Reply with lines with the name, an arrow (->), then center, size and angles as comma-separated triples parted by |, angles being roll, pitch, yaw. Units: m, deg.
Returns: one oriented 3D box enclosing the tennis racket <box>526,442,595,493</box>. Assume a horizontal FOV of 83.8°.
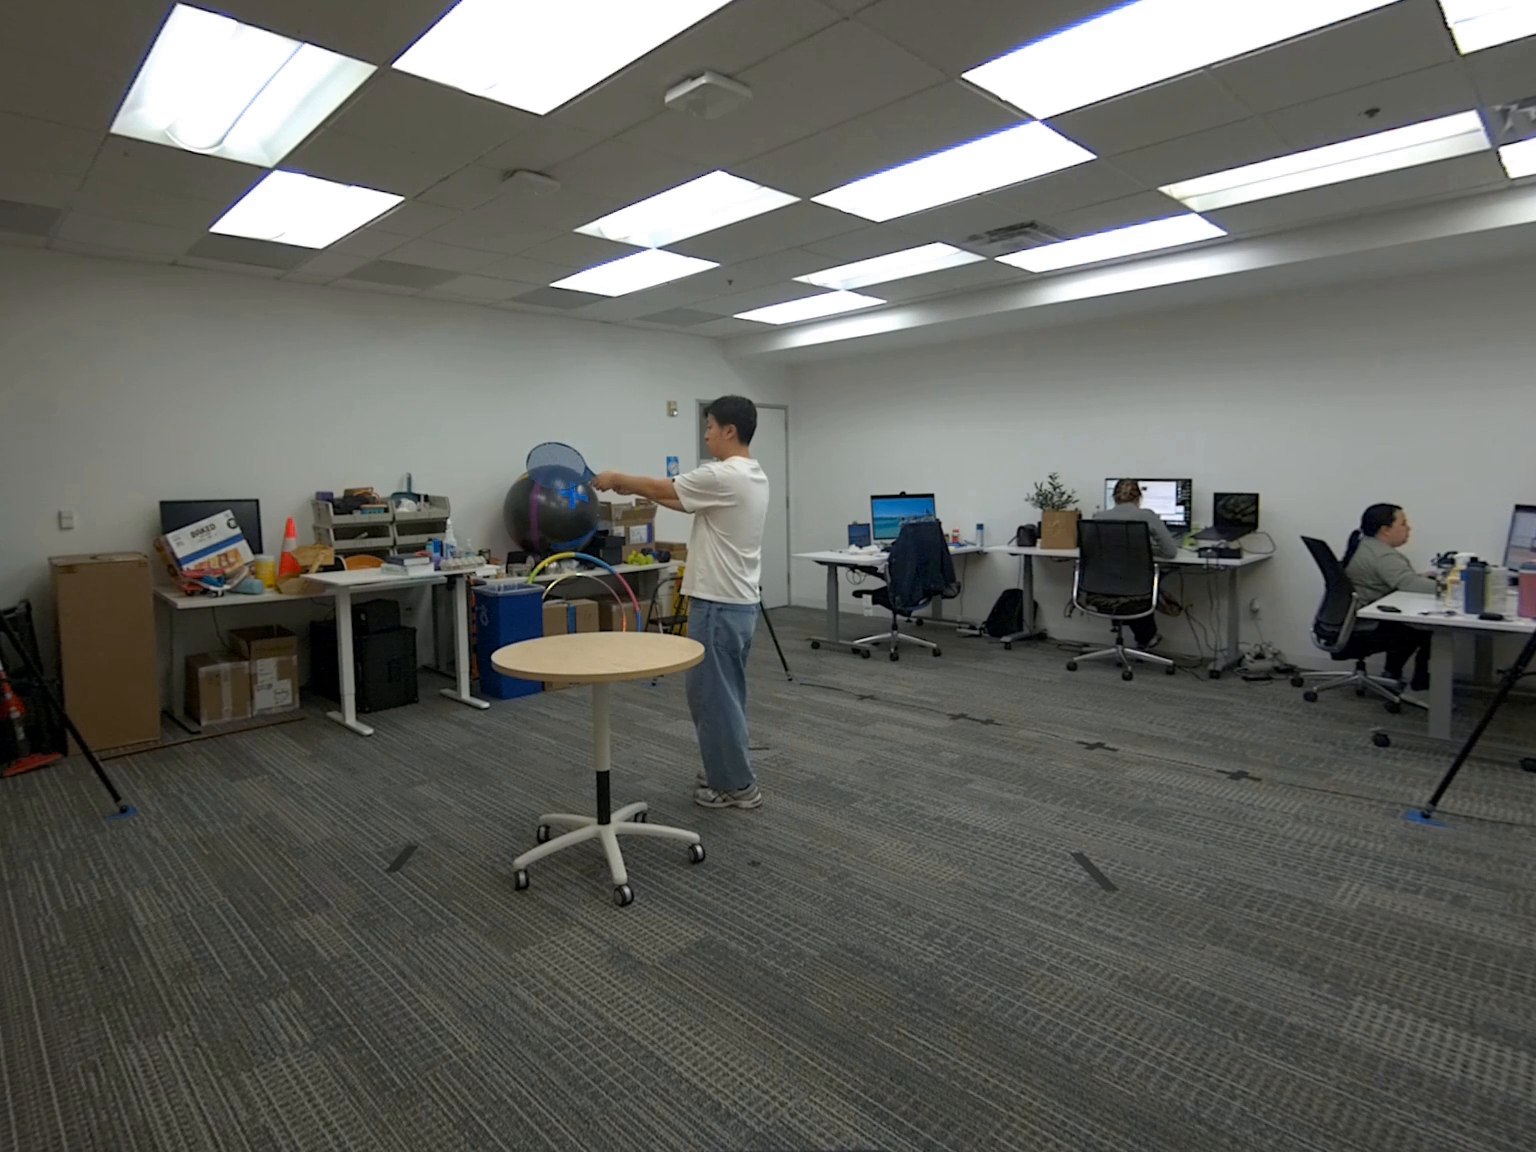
tennis racket -> -0.852, -0.462, 3.811 | 0.429, 0.214, 0.032 | 21, -7, -7
